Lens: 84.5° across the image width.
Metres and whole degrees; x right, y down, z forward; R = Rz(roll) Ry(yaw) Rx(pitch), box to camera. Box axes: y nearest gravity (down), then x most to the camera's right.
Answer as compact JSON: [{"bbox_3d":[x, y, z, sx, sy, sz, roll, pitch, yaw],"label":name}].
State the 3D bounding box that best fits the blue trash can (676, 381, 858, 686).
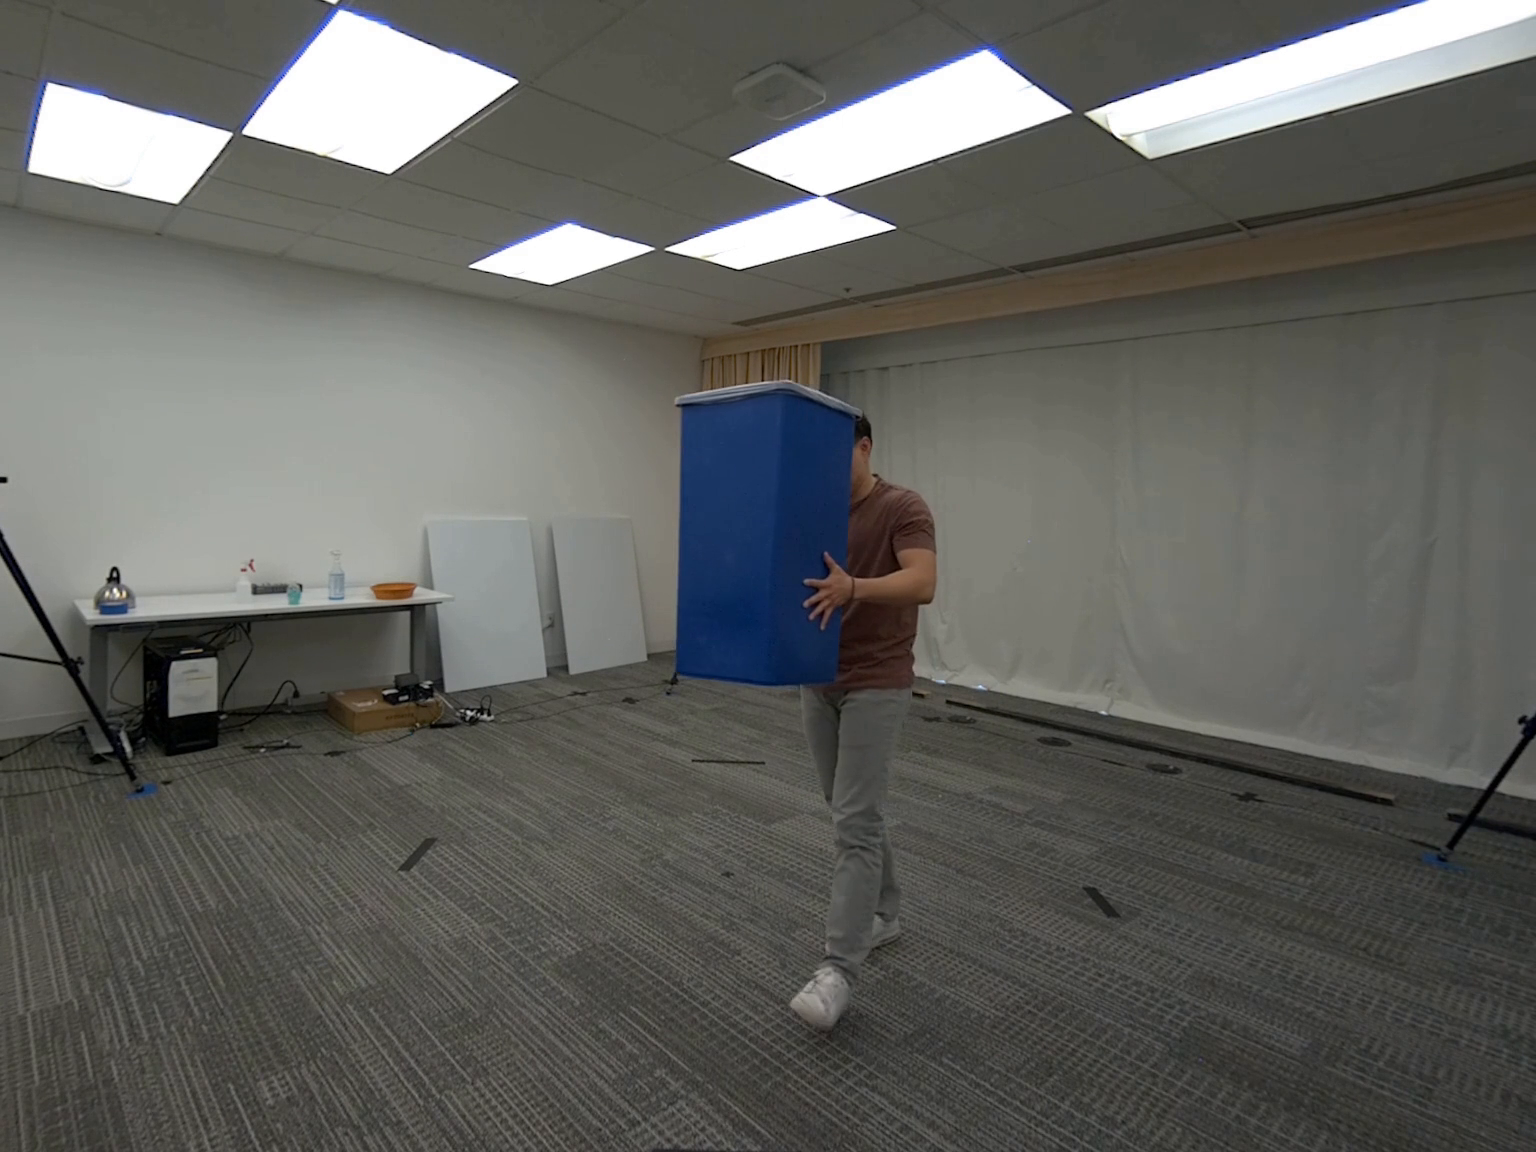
[{"bbox_3d":[-0.018,-0.091,2.158,0.387,0.716,0.364,-1,-6,38],"label":"blue trash can"}]
